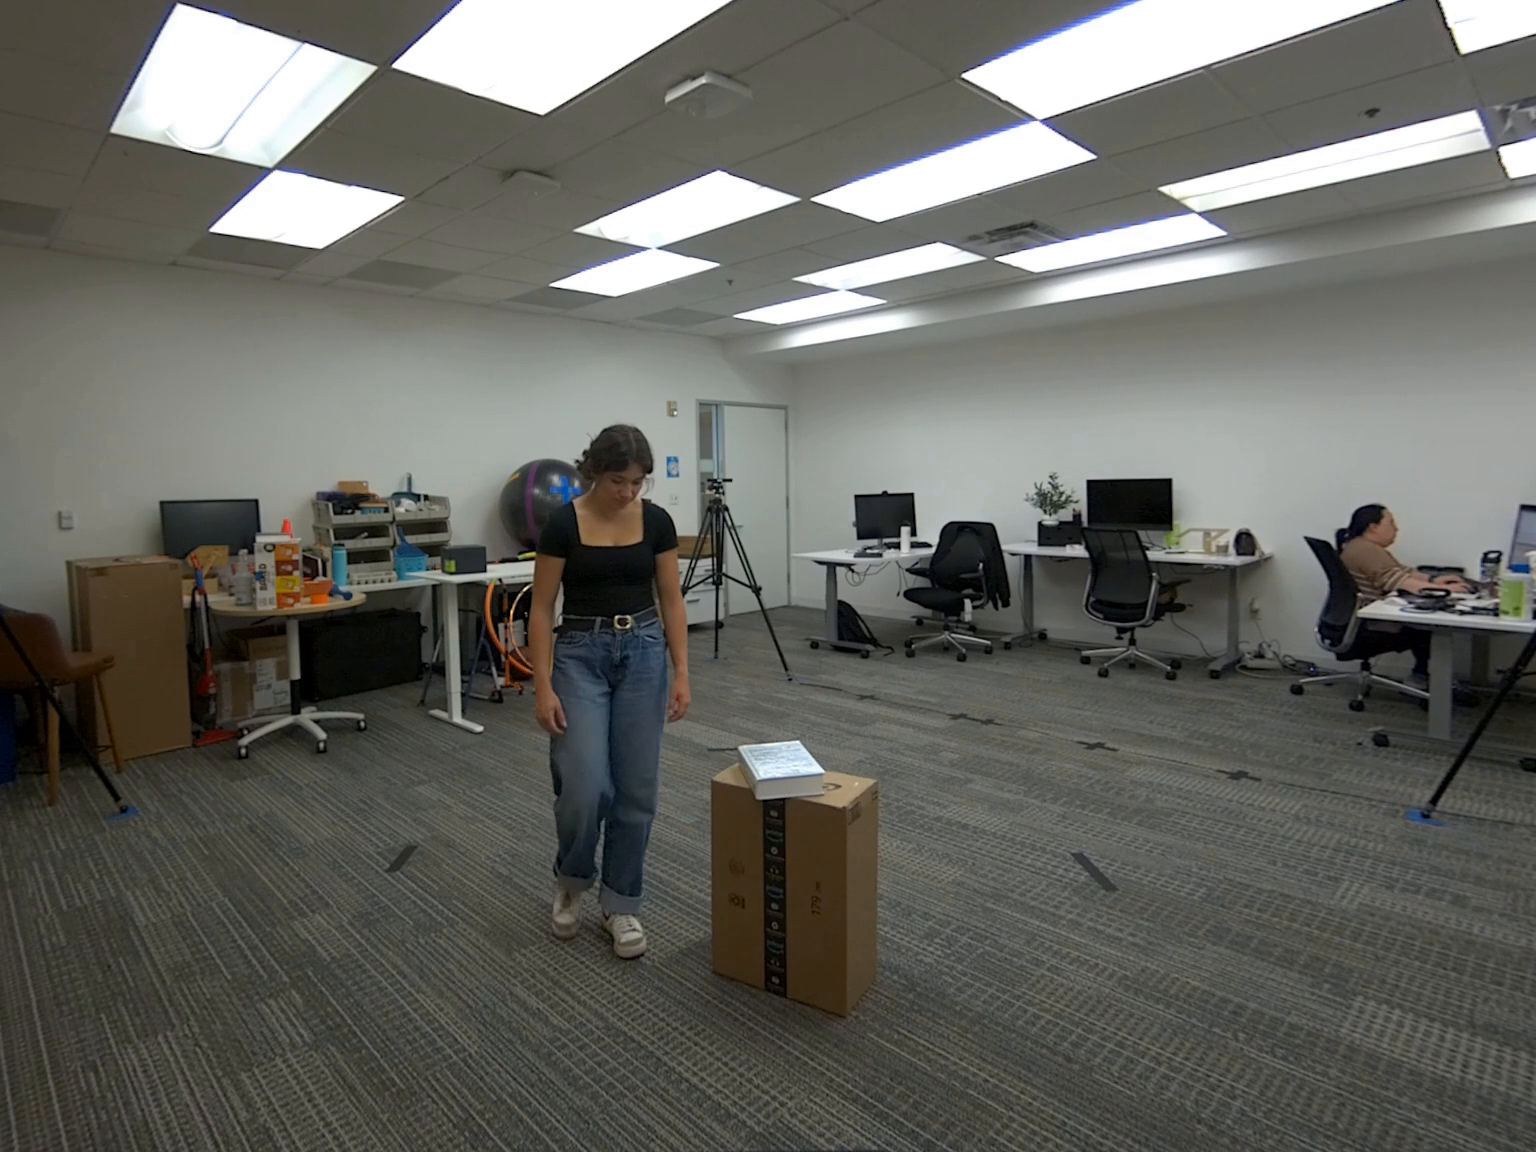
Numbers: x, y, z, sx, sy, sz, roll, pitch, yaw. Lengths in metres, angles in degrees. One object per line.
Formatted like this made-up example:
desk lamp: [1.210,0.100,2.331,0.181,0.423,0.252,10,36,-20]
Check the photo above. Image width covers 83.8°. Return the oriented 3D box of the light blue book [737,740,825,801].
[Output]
light blue book: [0.030,0.537,2.360,0.189,0.059,0.265,-2,7,-12]
